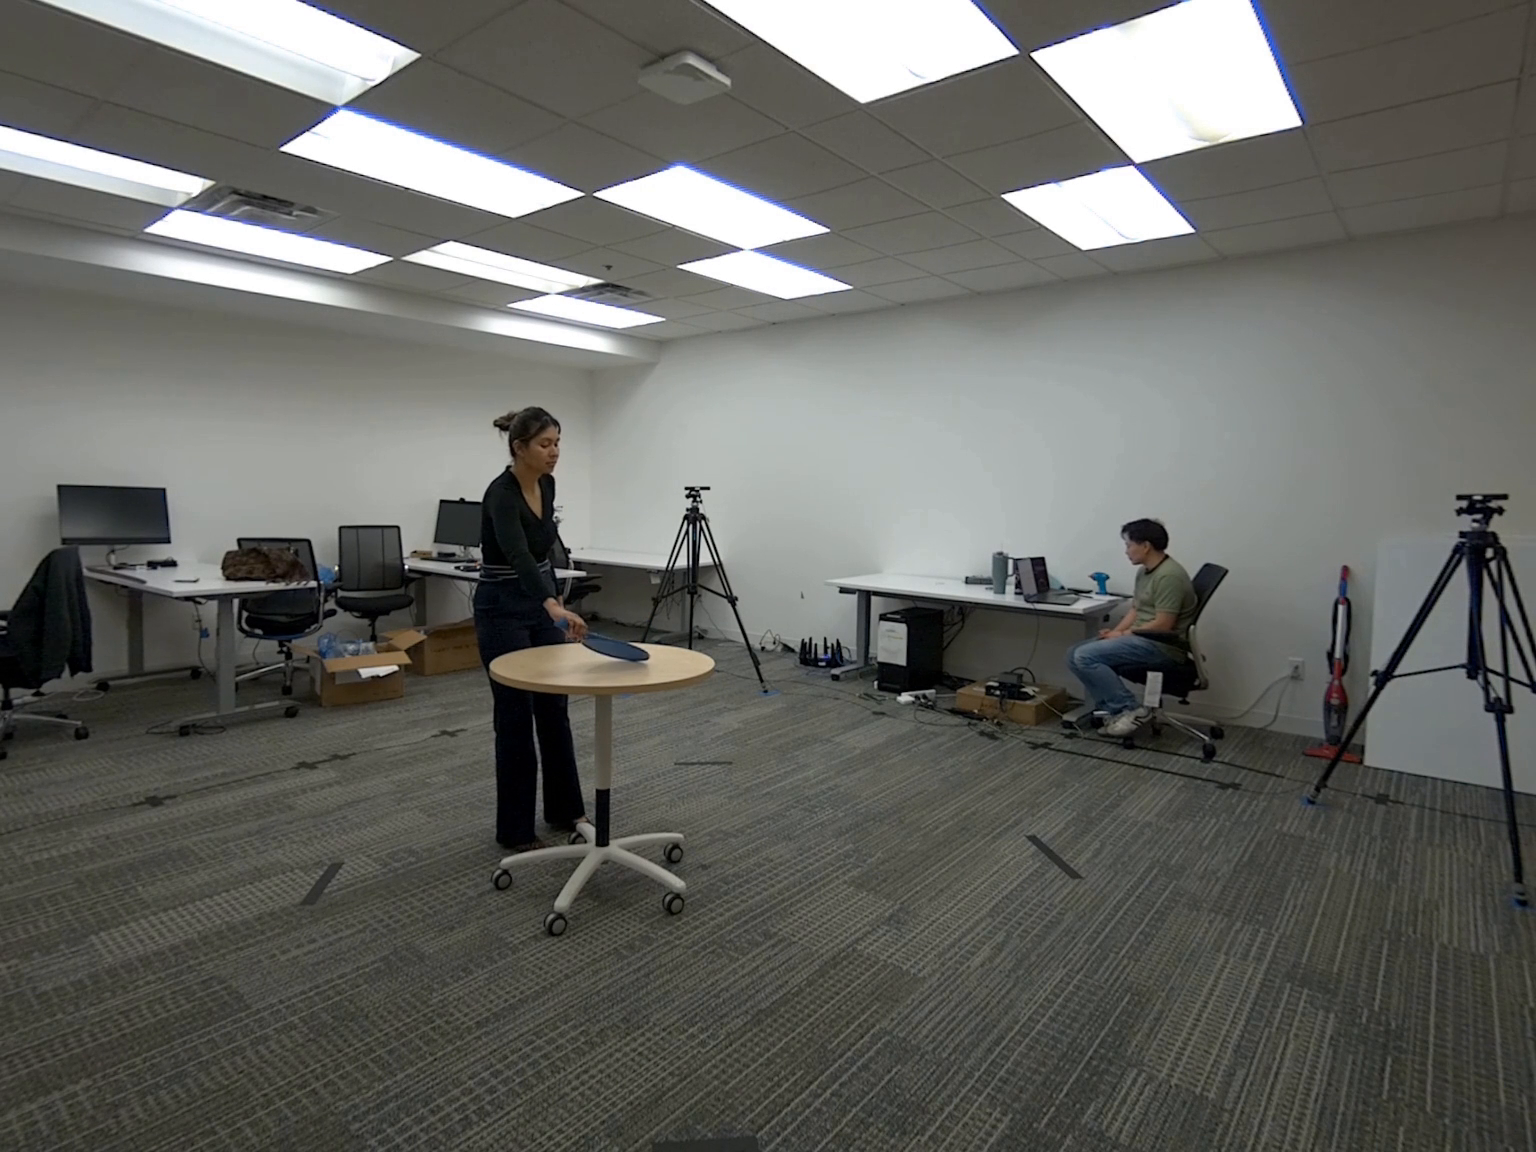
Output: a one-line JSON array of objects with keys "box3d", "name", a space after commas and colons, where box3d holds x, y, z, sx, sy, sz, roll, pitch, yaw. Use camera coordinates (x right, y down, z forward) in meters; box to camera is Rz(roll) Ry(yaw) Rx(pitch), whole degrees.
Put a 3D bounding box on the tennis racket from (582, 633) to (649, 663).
[{"box3d": [-0.557, 0.211, 2.785, 0.220, 0.032, 0.415, -4, -24, 36], "name": "tennis racket"}]
